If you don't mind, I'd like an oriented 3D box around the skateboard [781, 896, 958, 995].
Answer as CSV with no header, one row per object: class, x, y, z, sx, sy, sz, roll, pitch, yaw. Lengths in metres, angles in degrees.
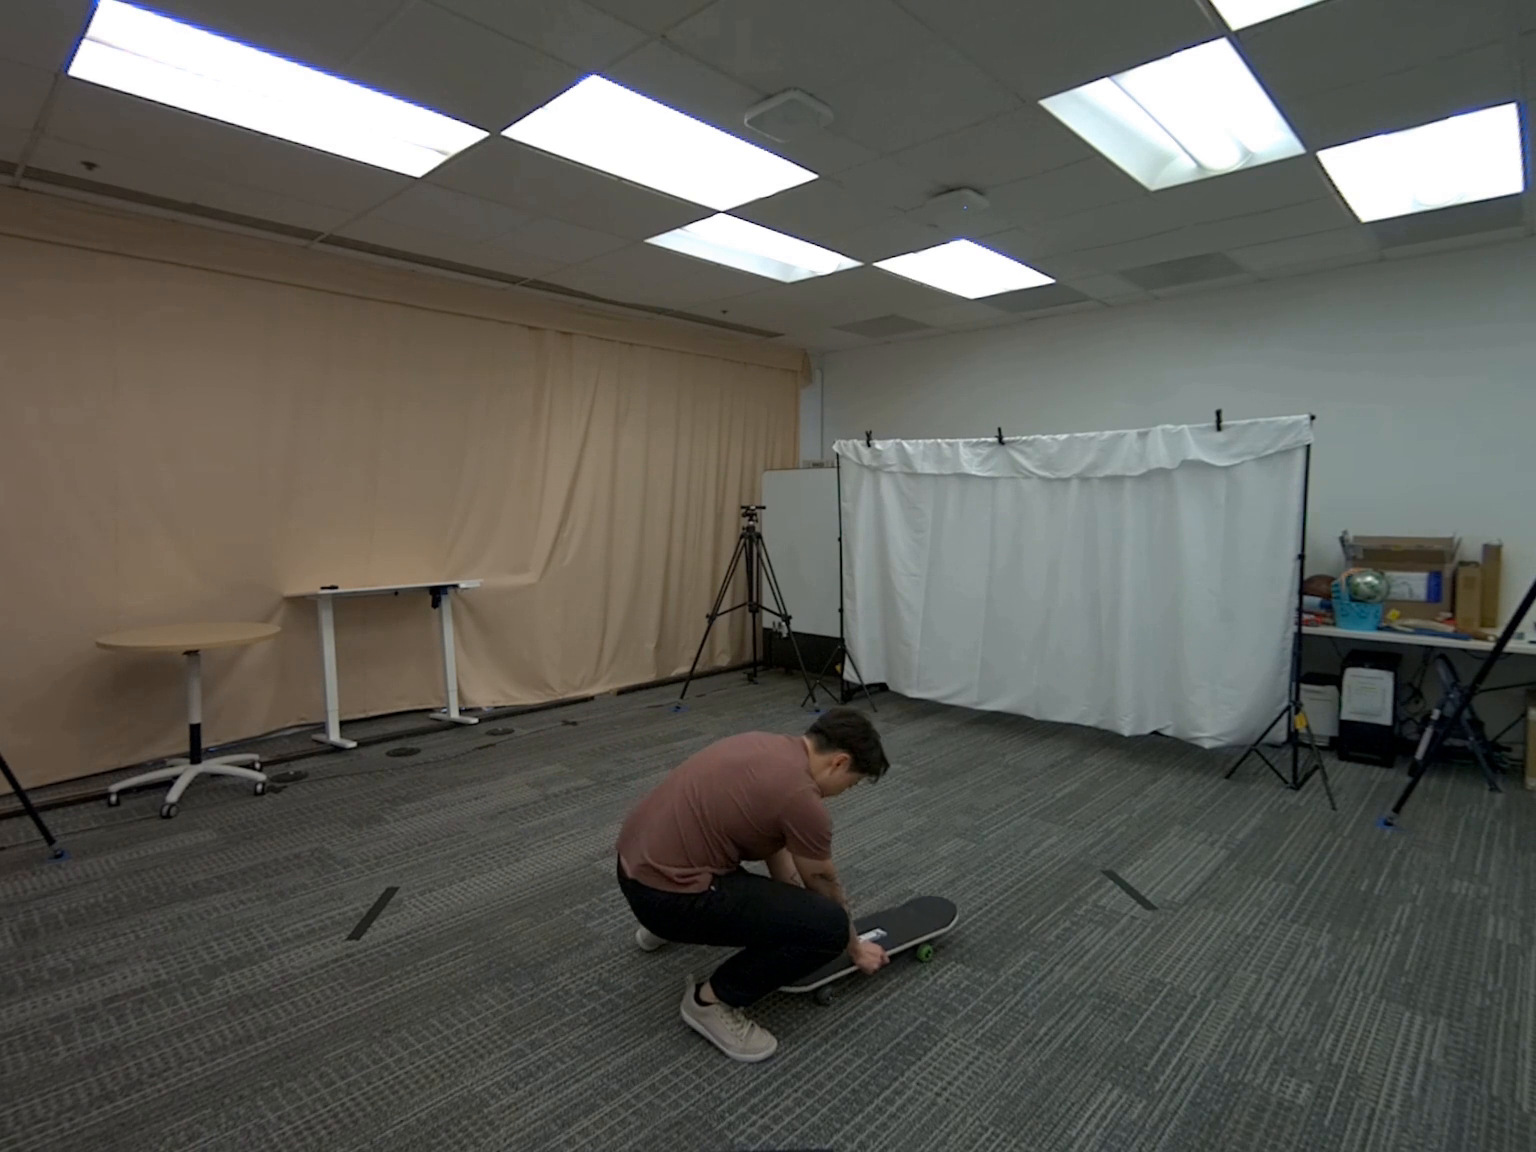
skateboard,0.278,1.129,2.519,0.764,0.110,0.199,-3,6,-32
